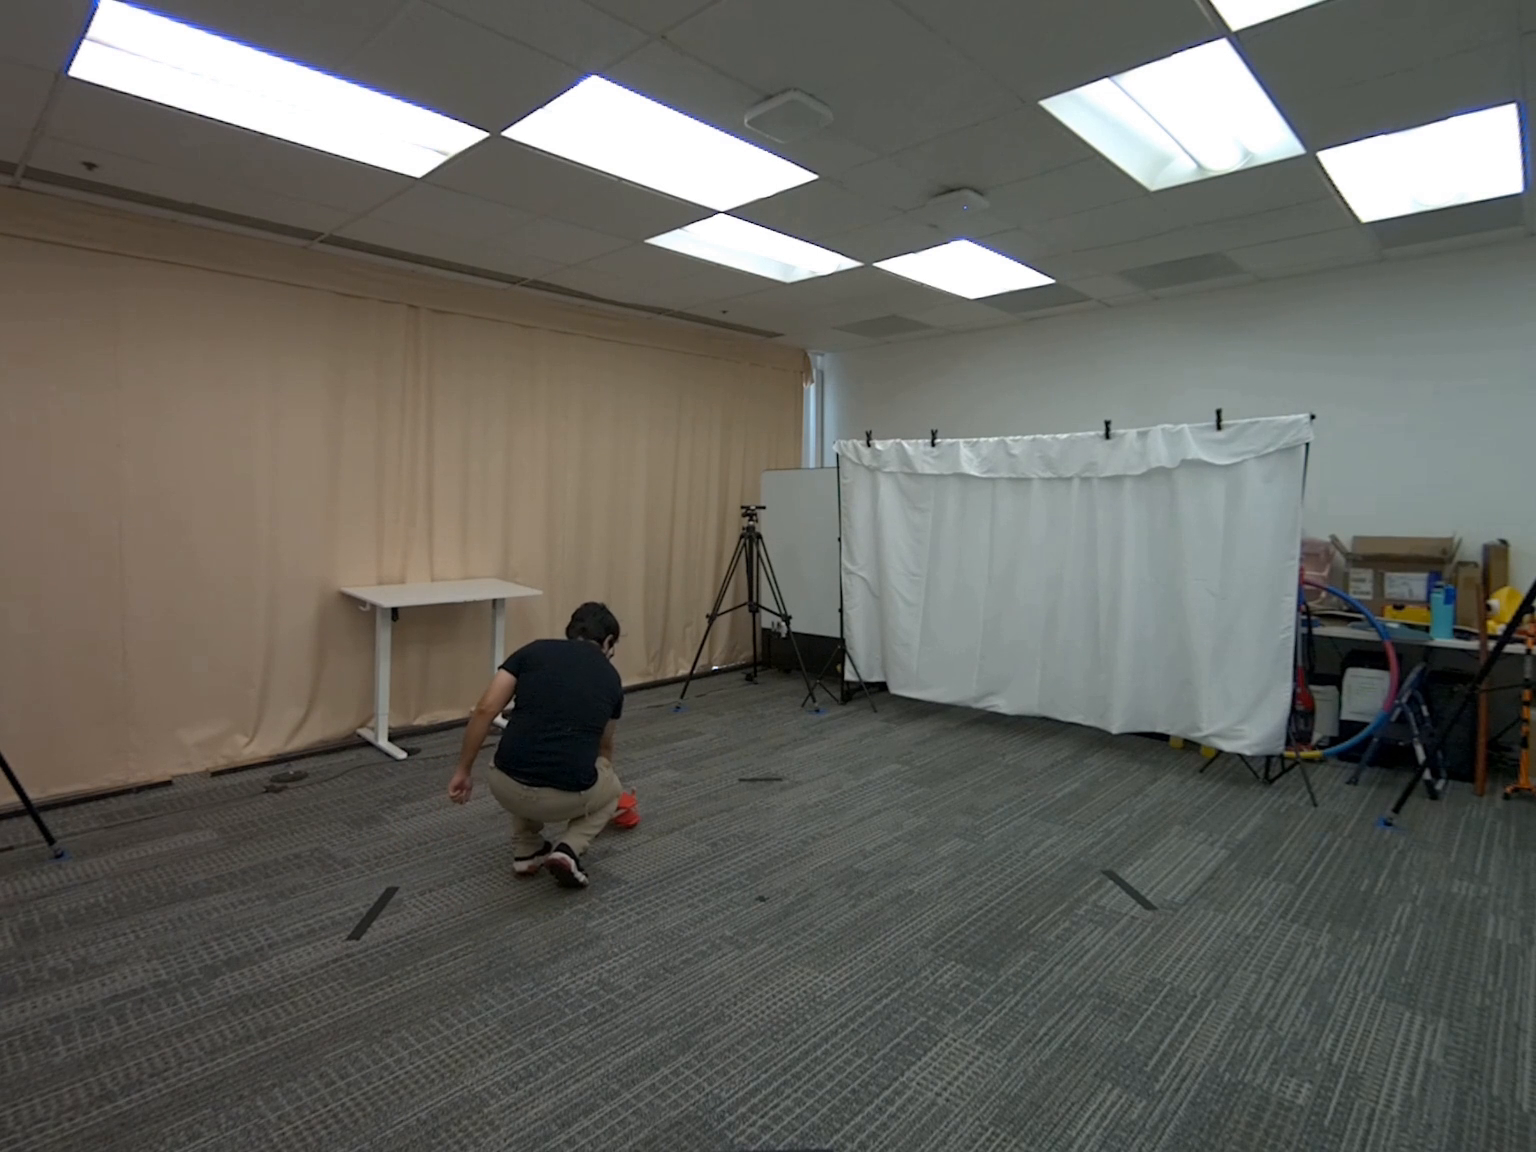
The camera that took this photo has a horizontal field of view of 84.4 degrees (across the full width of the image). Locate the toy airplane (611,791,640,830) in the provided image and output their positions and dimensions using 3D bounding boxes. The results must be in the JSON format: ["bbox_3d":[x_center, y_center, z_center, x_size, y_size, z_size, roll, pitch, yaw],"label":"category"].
[{"bbox_3d":[-0.672,1.021,3.616,0.256,0.156,0.254,2,3,18],"label":"toy airplane"}]
